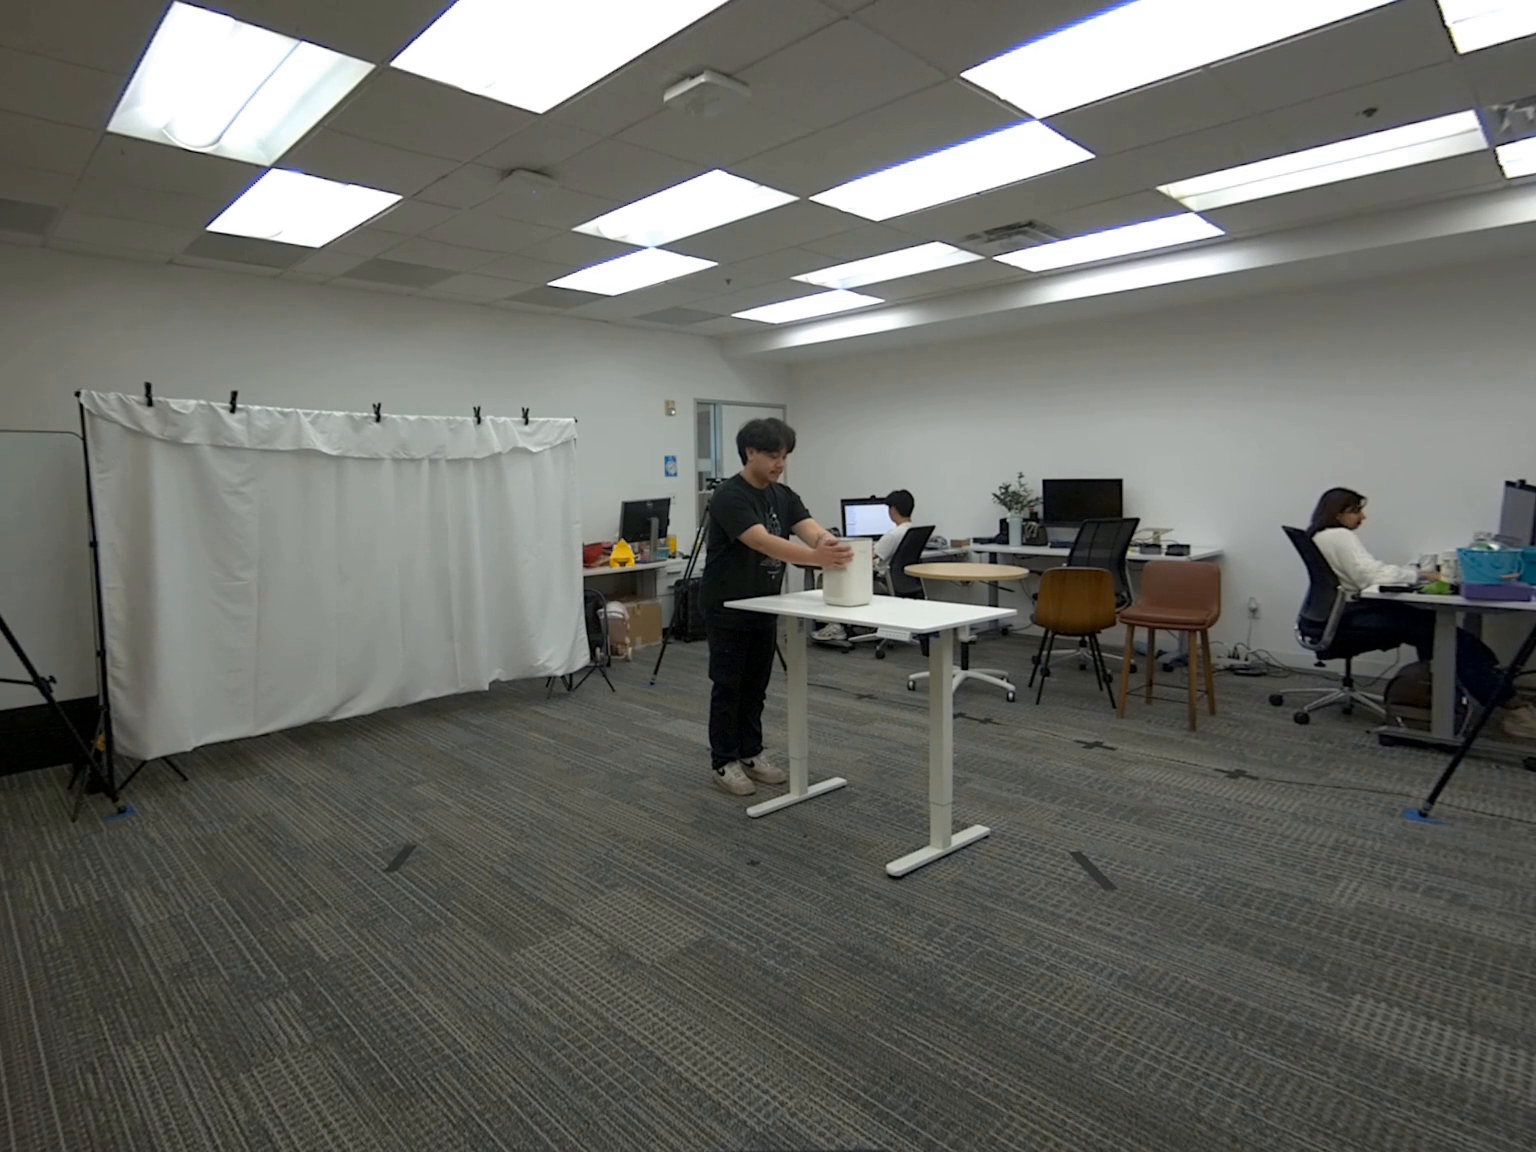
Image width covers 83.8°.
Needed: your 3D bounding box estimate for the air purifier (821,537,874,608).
[{"bbox_3d":[0.315,-0.018,3.436,0.166,0.265,0.176,-2,1,-44],"label":"air purifier"}]
